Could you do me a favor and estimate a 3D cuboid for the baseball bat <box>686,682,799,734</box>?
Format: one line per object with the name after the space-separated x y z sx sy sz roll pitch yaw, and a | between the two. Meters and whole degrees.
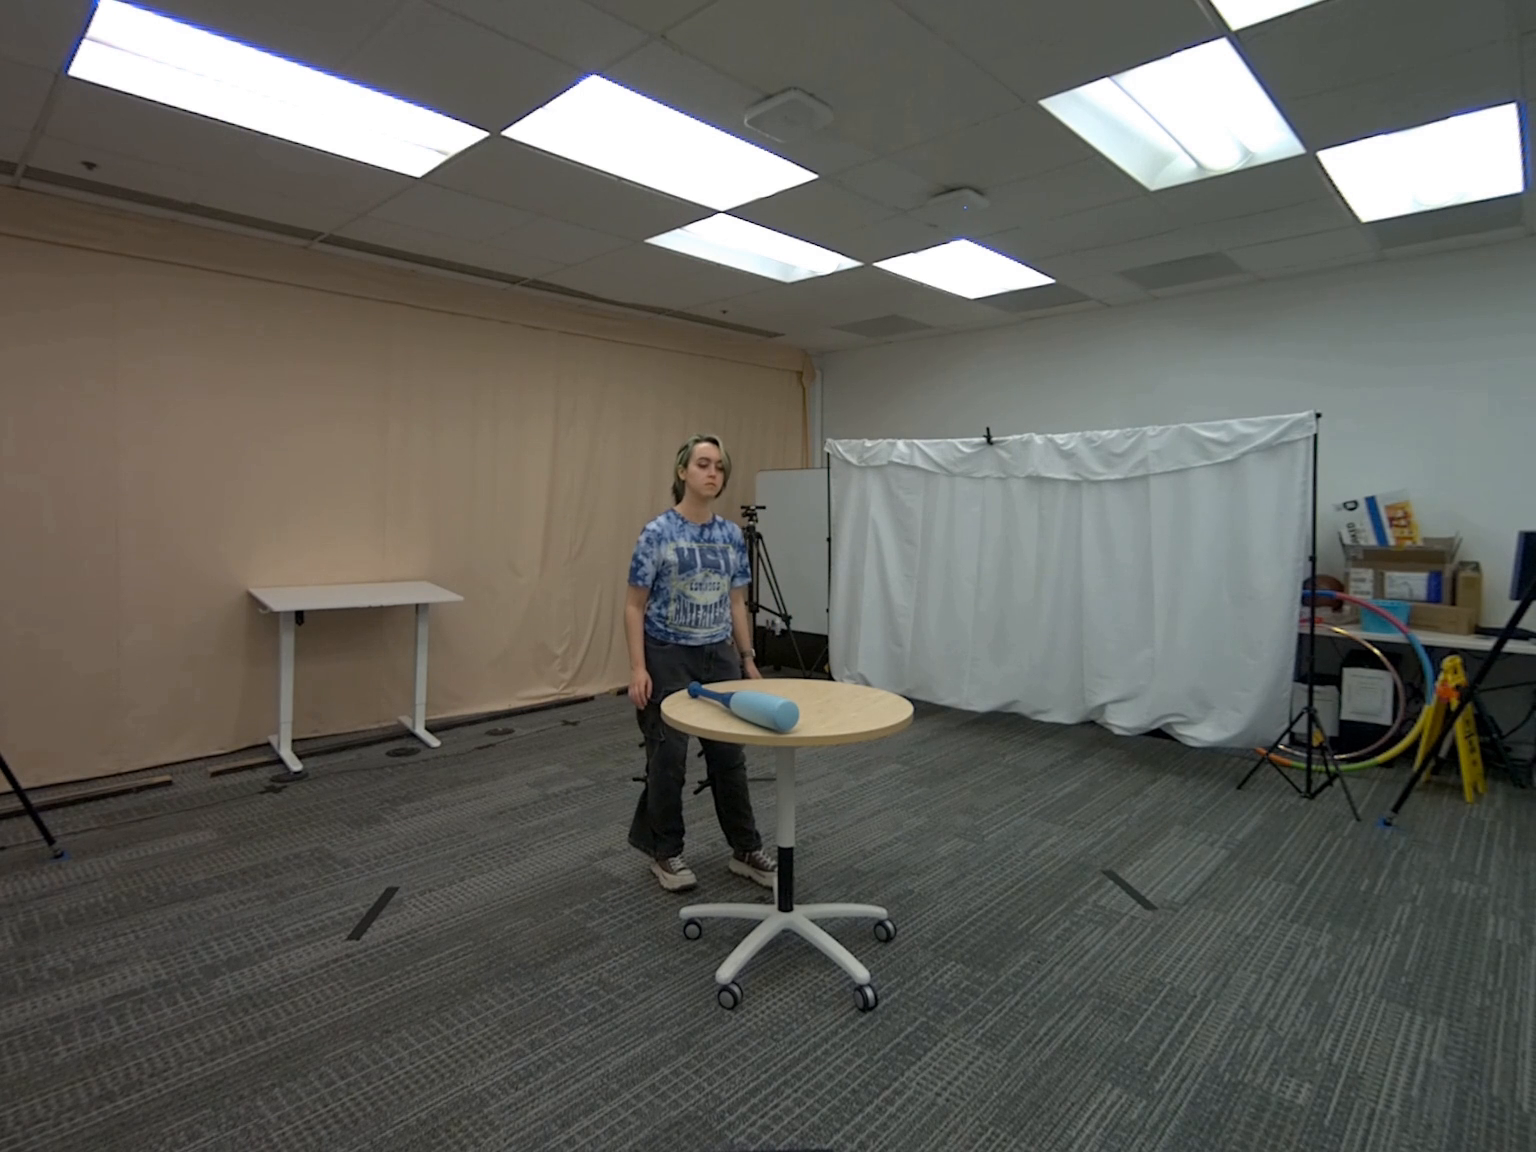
-0.091 0.373 2.439 0.086 0.089 0.558 -2 1 -31 | baseball bat
